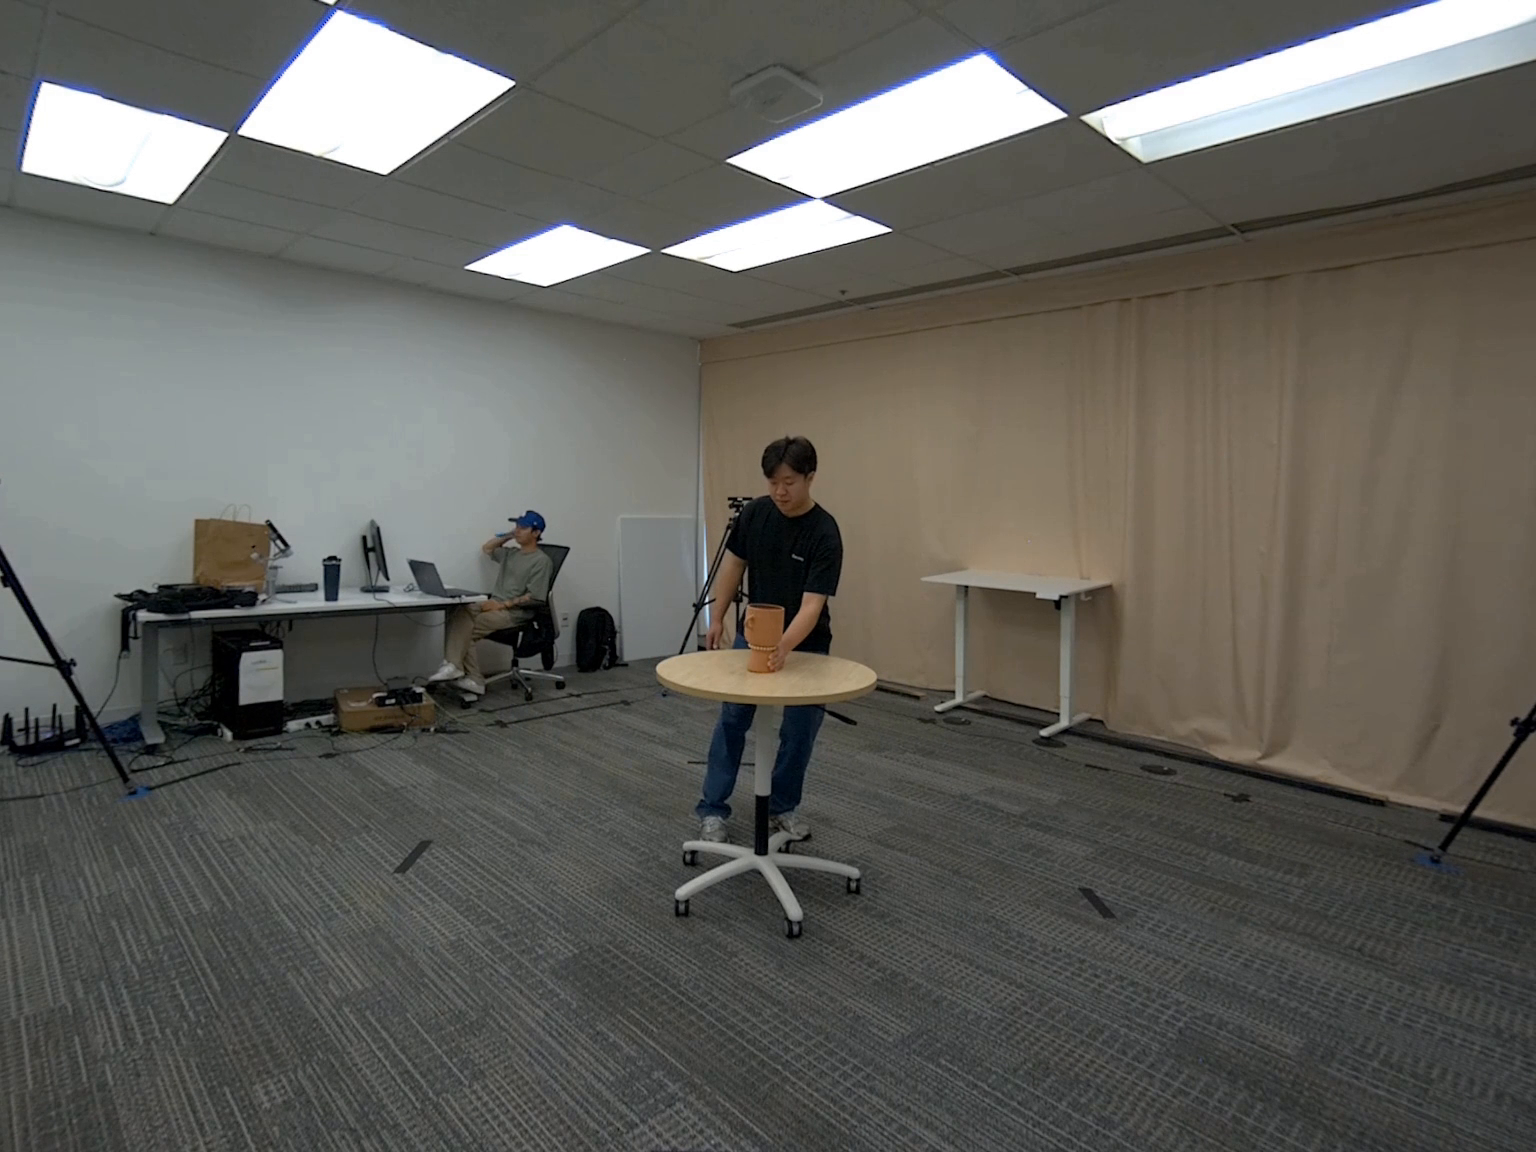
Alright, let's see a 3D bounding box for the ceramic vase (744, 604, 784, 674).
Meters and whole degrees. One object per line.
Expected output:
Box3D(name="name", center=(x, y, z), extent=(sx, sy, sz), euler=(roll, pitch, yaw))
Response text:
Box3D(name="ceramic vase", center=(-0.033, 0.216, 2.925), extent=(0.157, 0.219, 0.136), euler=(4, 5, -10))
